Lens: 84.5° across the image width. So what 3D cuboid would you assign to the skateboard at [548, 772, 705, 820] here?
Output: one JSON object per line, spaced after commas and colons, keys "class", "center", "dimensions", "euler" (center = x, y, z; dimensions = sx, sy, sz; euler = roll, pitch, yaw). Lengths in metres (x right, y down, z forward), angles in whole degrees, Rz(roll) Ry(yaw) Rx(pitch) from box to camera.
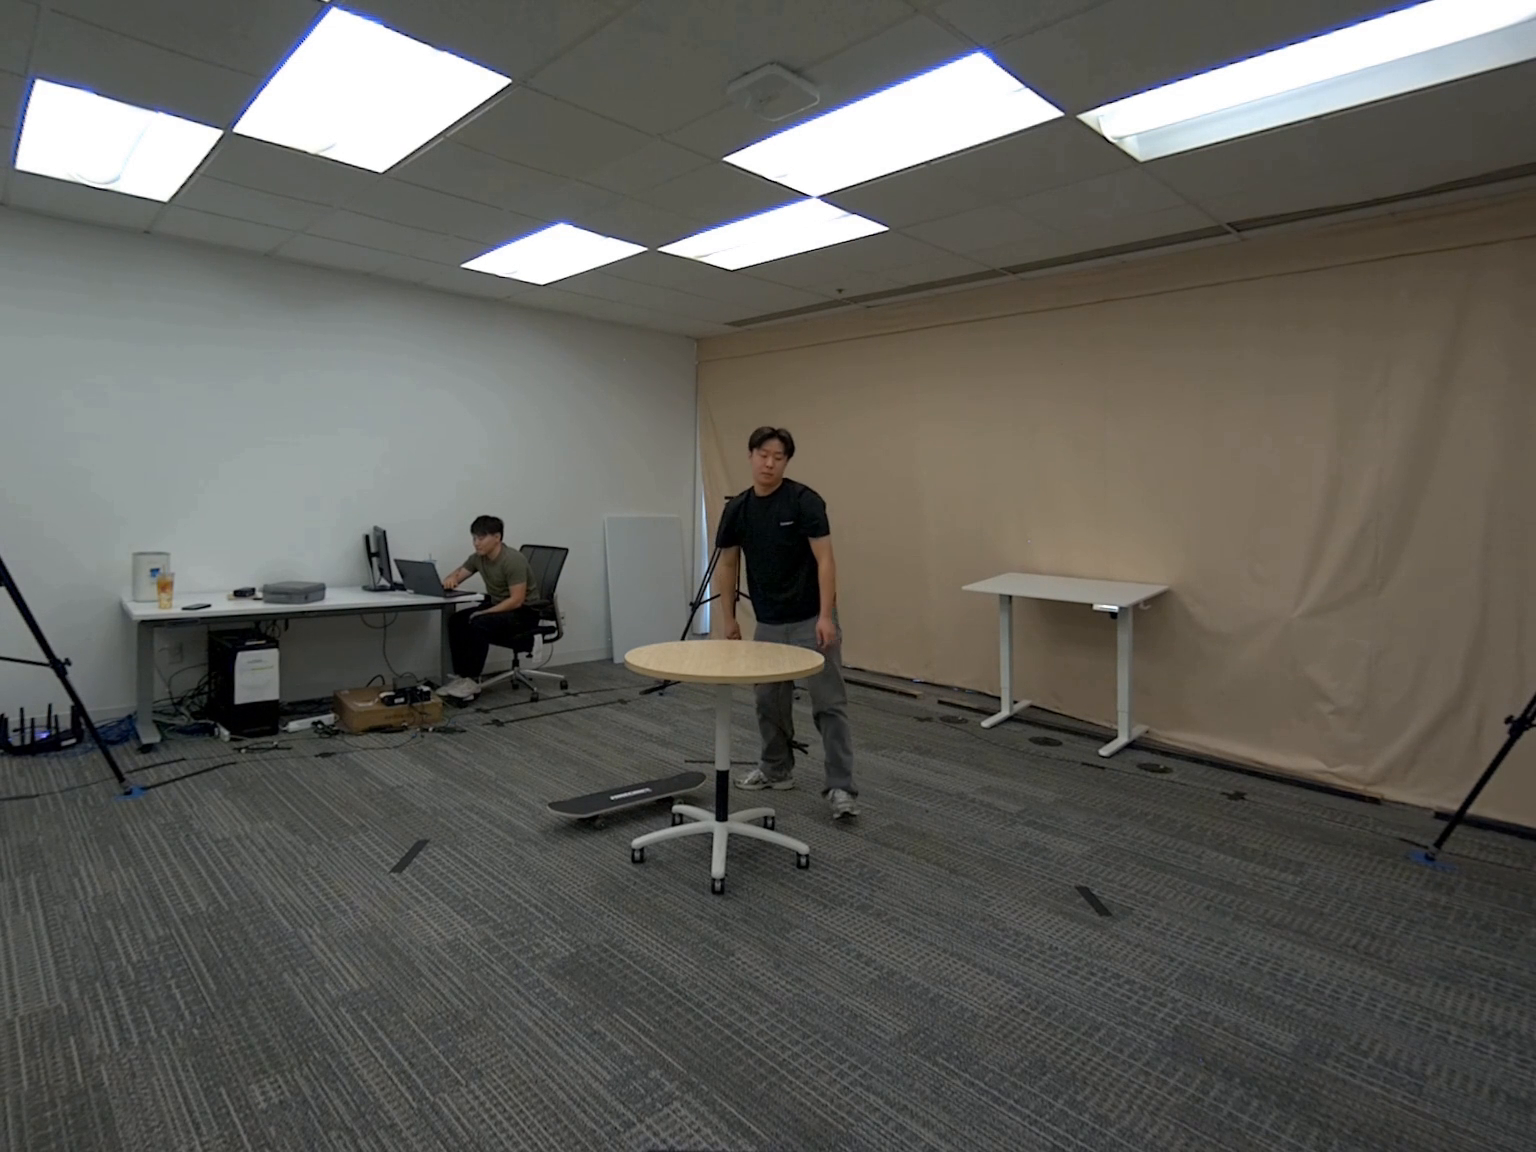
{"class": "skateboard", "center": [-0.610, 0.986, 3.684], "dimensions": [0.768, 0.110, 0.198], "euler": [-3, 7, -40]}
